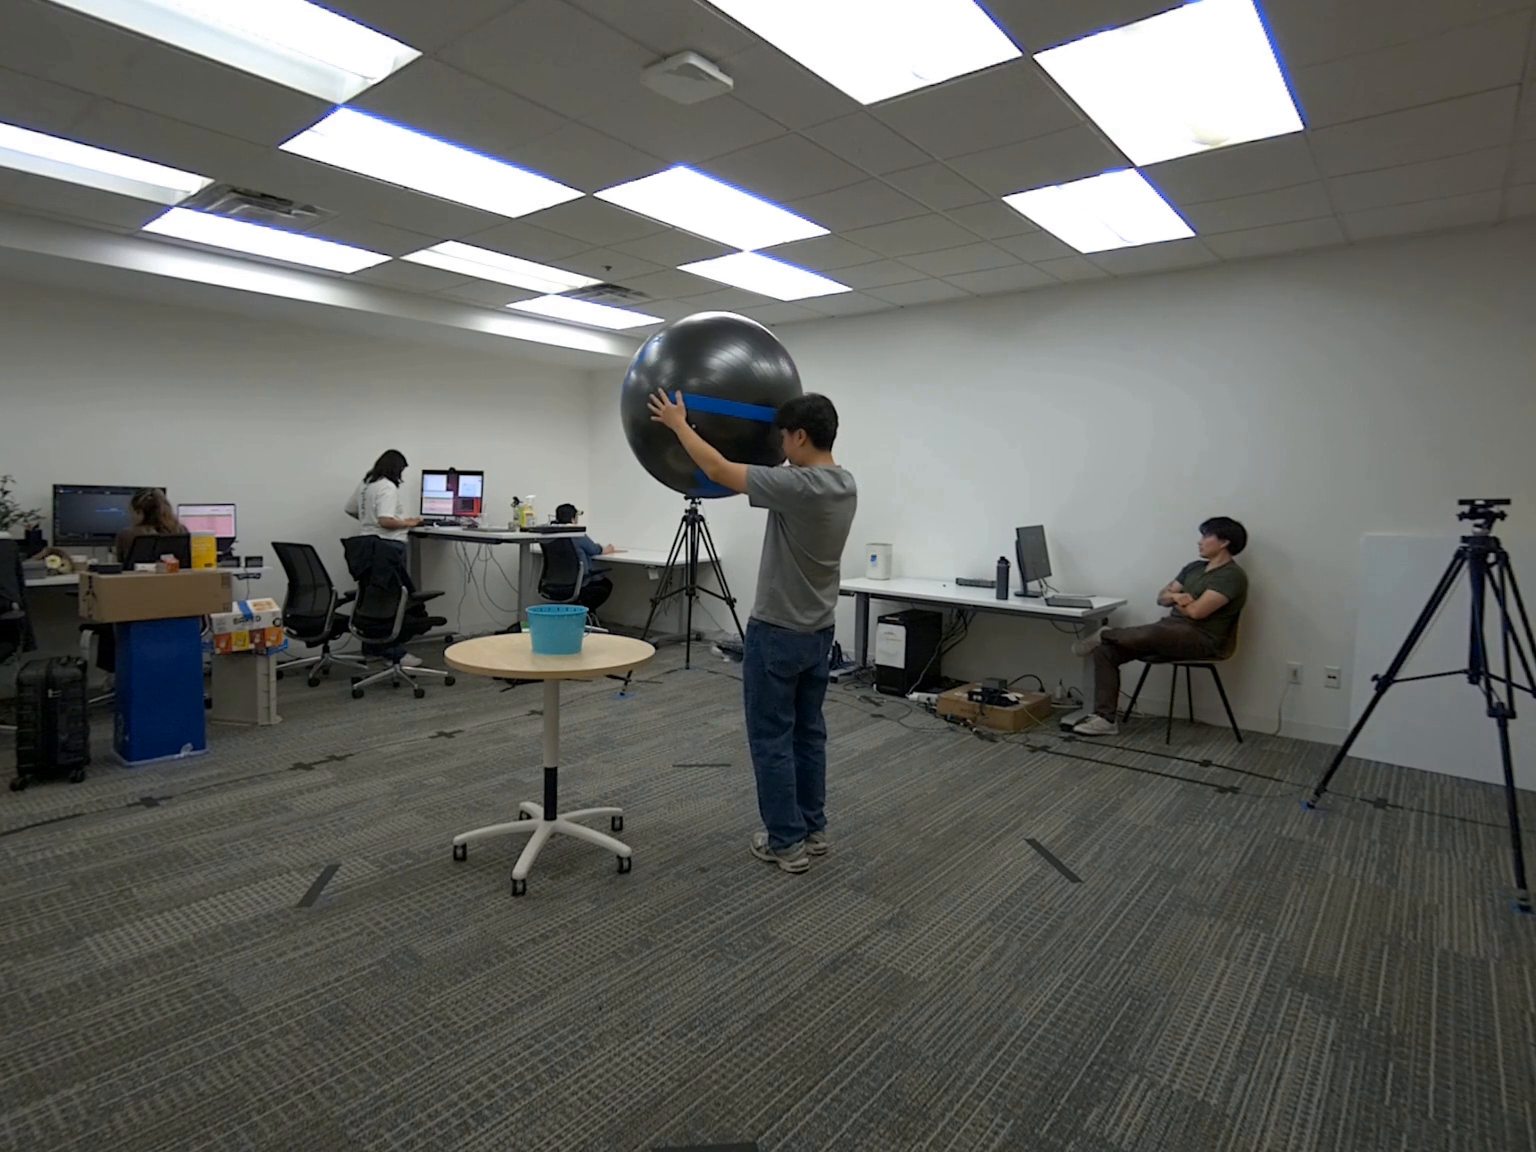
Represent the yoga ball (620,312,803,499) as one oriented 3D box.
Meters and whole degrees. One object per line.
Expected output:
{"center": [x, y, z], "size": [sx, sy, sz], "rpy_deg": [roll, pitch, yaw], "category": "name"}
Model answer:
{"center": [-0.242, -0.701, 3.526], "size": [0.757, 0.755, 0.762], "rpy_deg": [1, 4, -2], "category": "yoga ball"}
